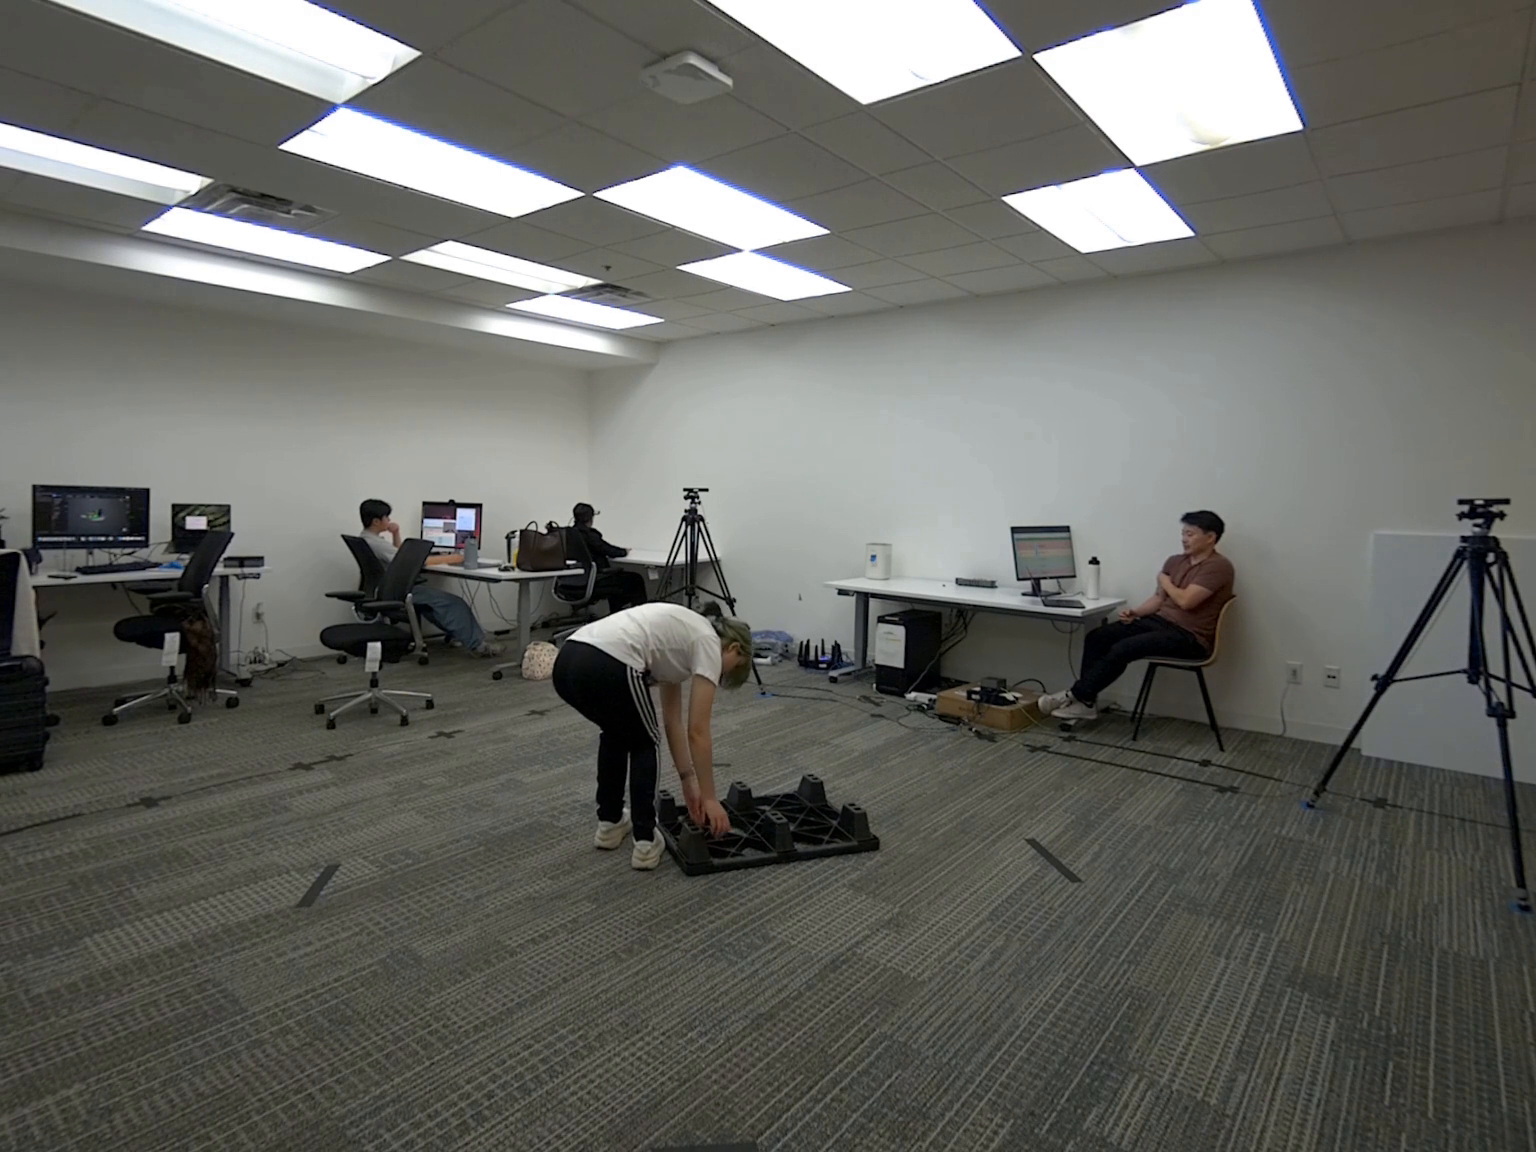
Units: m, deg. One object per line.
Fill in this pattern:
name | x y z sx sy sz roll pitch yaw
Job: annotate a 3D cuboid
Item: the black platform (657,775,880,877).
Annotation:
black platform | -0.055 0.967 3.451 0.788 0.143 0.621 -1 6 -22
